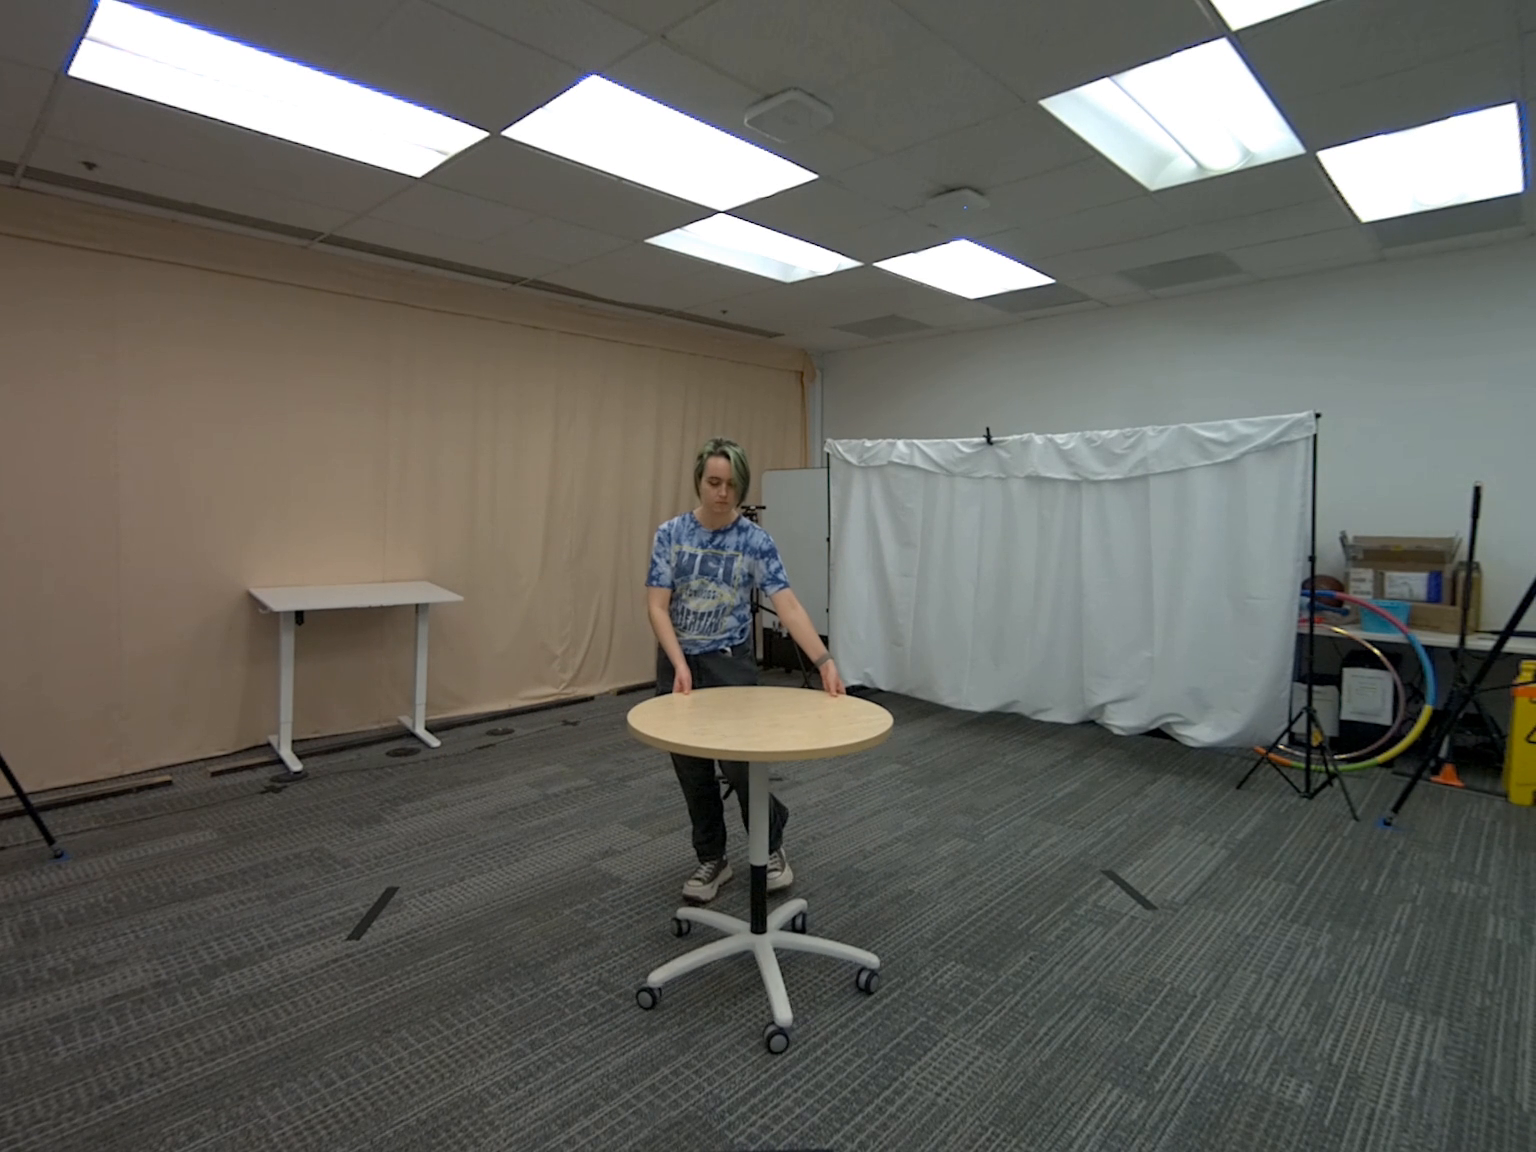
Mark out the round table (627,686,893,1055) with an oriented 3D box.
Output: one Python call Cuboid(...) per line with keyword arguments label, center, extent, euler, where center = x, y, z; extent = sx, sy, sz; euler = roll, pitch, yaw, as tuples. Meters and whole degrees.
Cuboid(label="round table", center=(-0.024, 0.798, 2.470), extent=(0.763, 0.792, 0.767), euler=(0, 4, -2))
